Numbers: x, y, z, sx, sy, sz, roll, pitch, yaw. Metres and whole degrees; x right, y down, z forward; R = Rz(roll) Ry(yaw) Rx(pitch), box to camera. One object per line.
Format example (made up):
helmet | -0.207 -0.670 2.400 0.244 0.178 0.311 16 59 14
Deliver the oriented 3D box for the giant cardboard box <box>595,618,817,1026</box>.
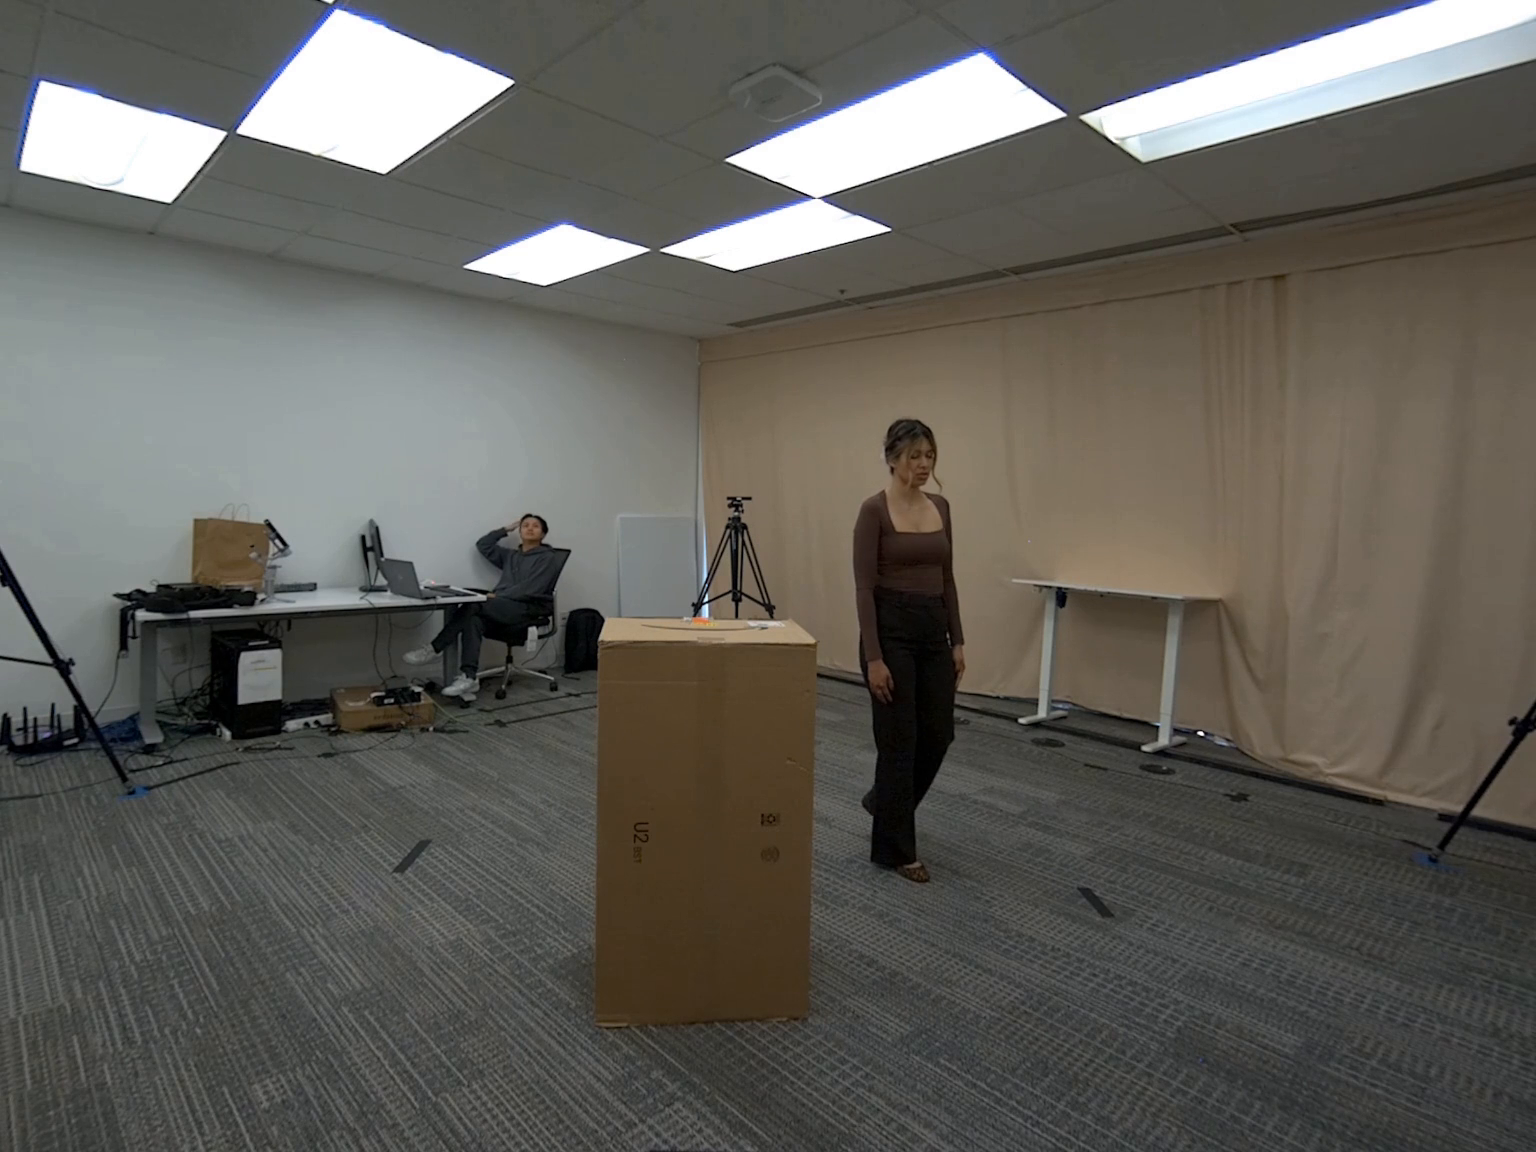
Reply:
giant cardboard box | -0.201 0.660 2.406 0.580 1.024 0.451 1 4 -8
